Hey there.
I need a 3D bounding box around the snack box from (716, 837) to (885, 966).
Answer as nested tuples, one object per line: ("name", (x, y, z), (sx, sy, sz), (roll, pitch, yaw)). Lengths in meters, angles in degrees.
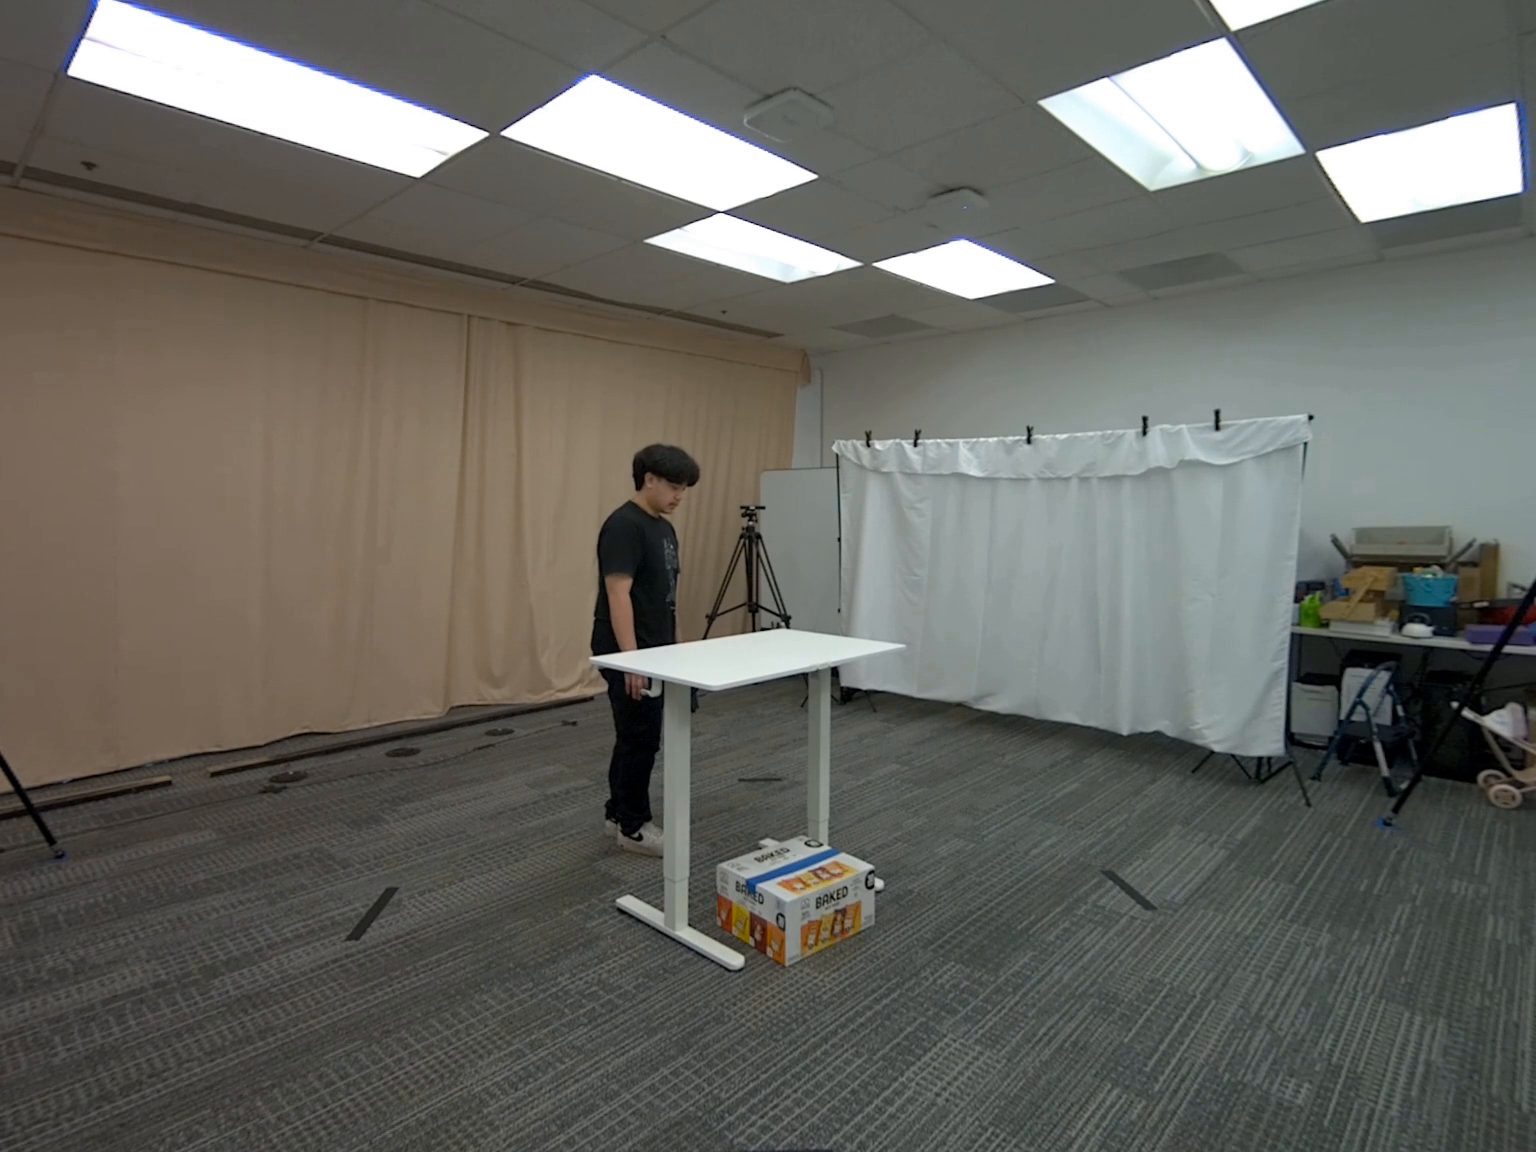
("snack box", (0.094, 1.062, 2.786), (0.393, 0.205, 0.352), (-4, 6, -41))
